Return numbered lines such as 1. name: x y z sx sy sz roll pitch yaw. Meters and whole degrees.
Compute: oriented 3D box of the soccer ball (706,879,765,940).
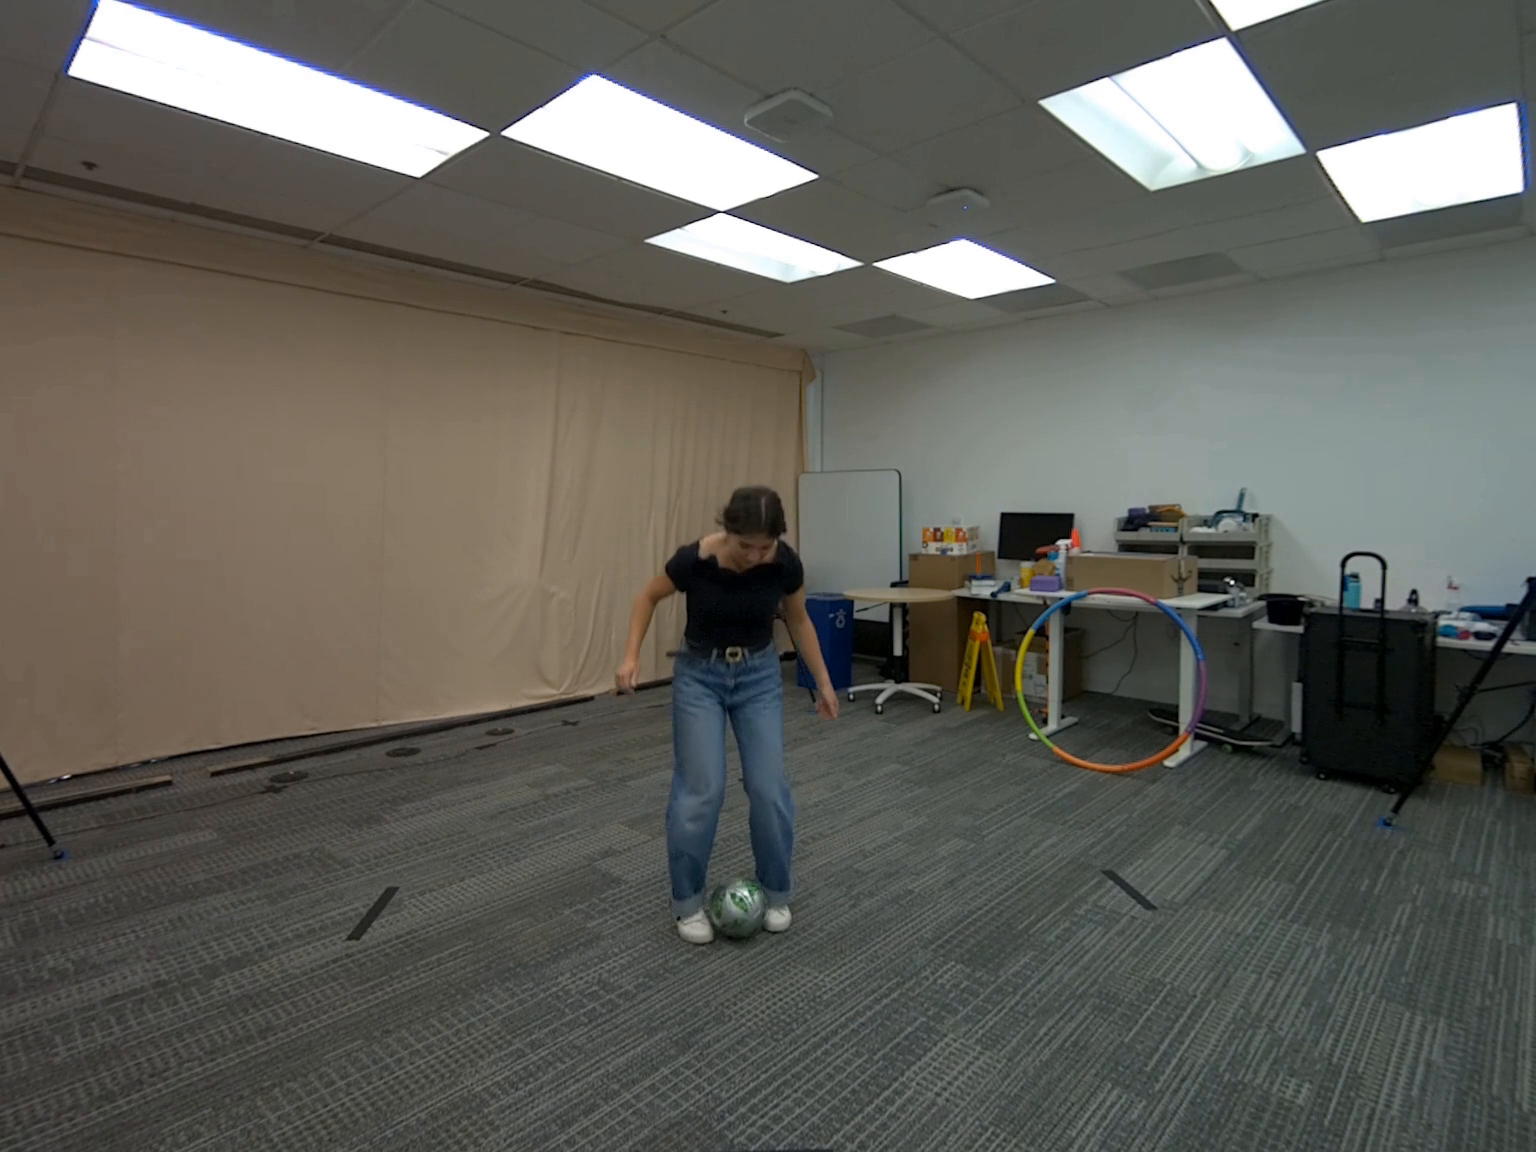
1. soccer ball: -0.083 1.078 2.724 0.187 0.187 0.188 0 4 -2
